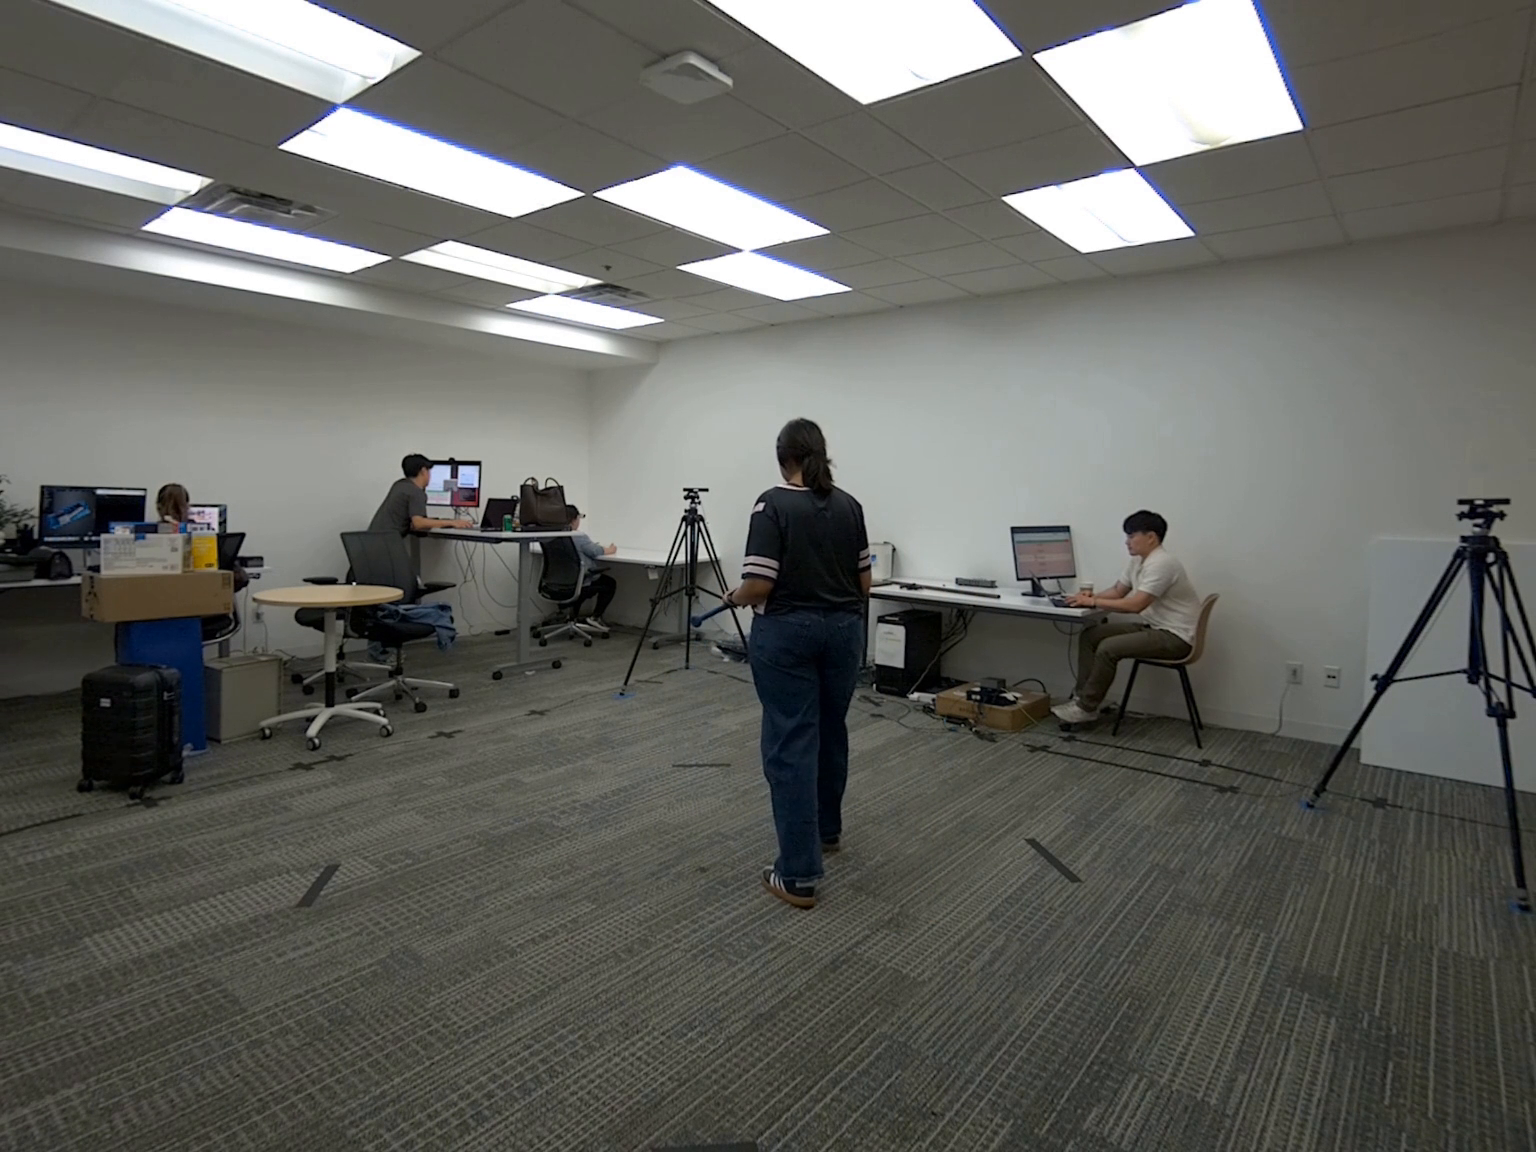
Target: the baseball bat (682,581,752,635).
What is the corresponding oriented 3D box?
[{"bbox_3d":[-0.091,0.076,3.271,0.534,0.087,0.092,-26,20,-38],"label":"baseball bat"}]
